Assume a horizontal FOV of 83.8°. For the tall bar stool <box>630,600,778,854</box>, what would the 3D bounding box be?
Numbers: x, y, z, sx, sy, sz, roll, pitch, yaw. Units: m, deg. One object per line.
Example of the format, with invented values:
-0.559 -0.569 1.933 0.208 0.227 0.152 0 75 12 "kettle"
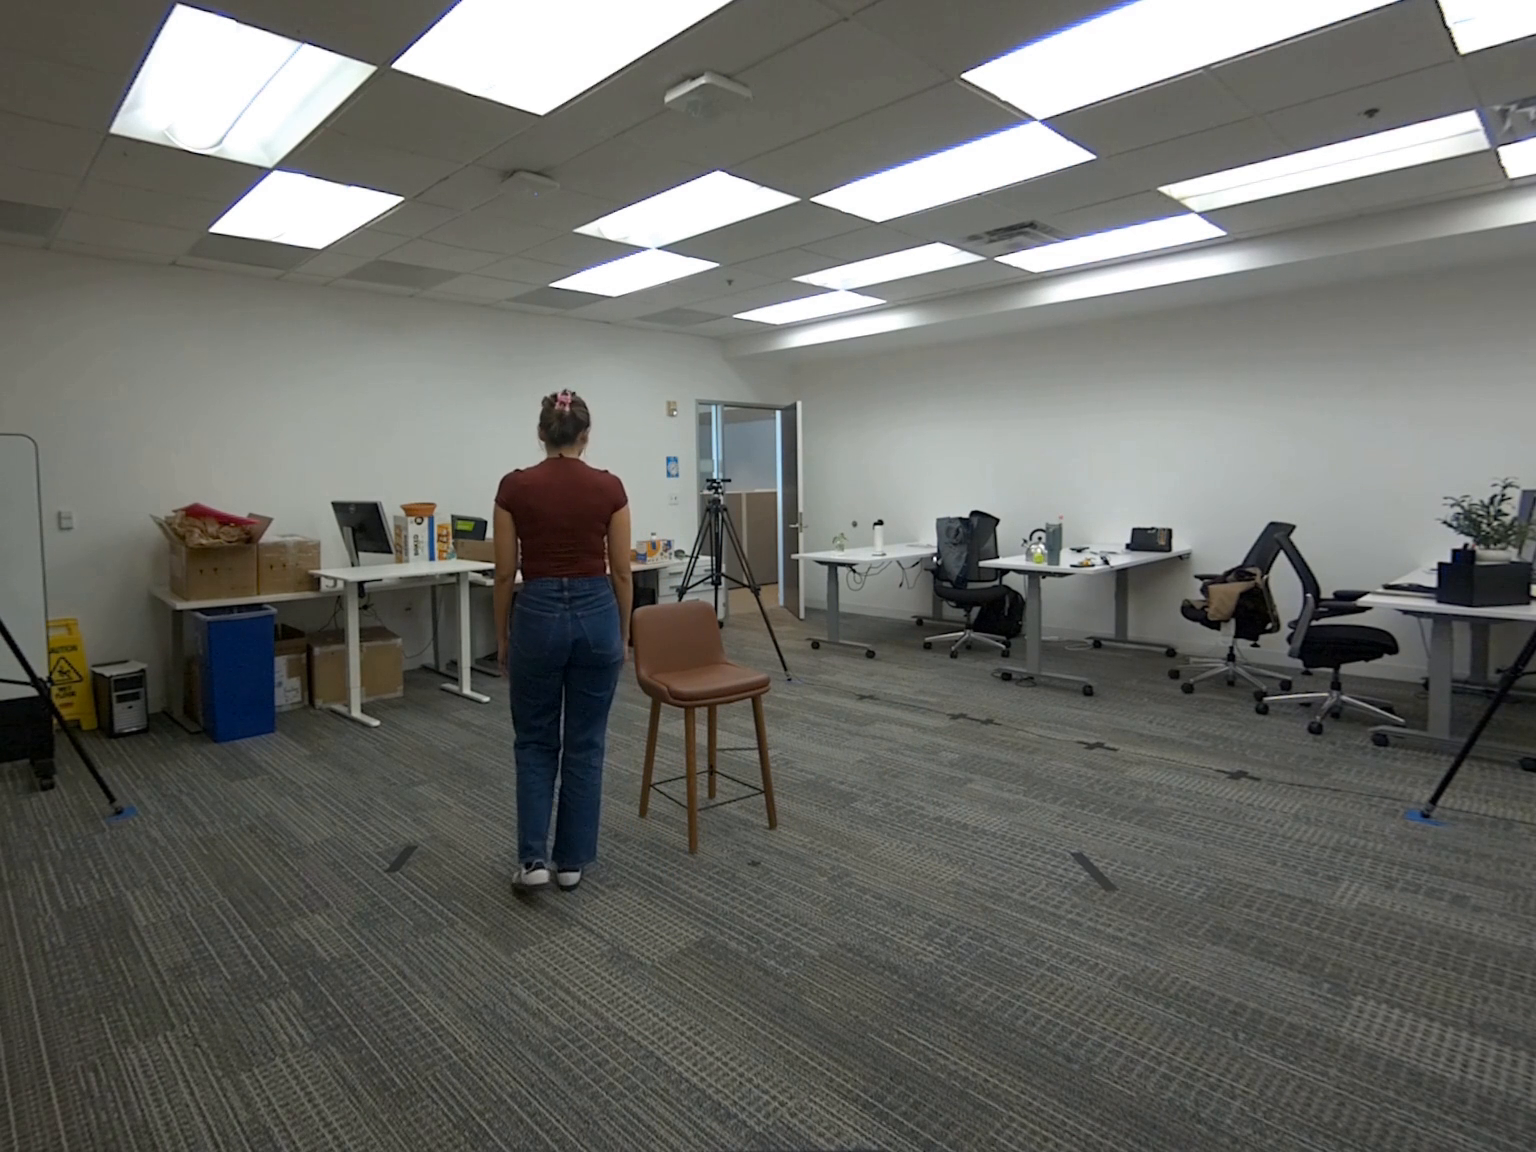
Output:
-0.267 0.573 3.468 0.445 0.888 0.481 -3 3 -36 "tall bar stool"
